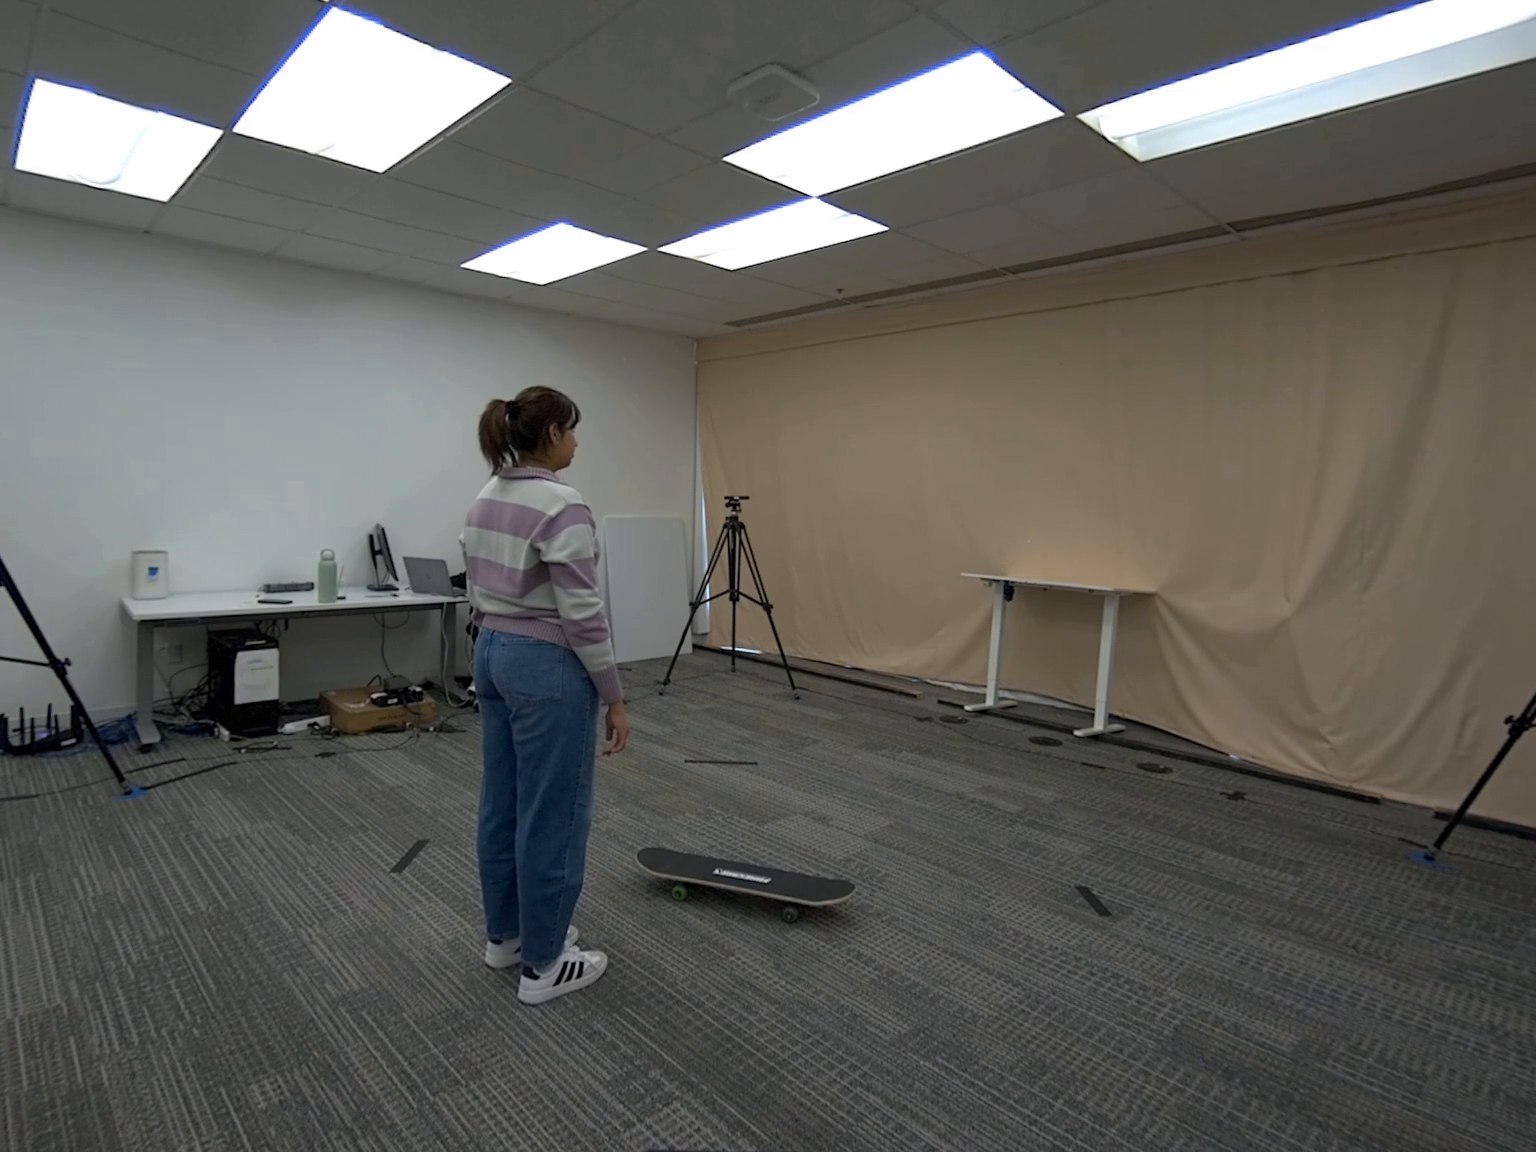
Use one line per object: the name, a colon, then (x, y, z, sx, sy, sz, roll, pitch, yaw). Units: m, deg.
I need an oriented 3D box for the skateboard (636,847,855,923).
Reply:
skateboard: (-0.099, 1.066, 2.902, 0.798, 0.110, 0.191, 3, 5, 19)
